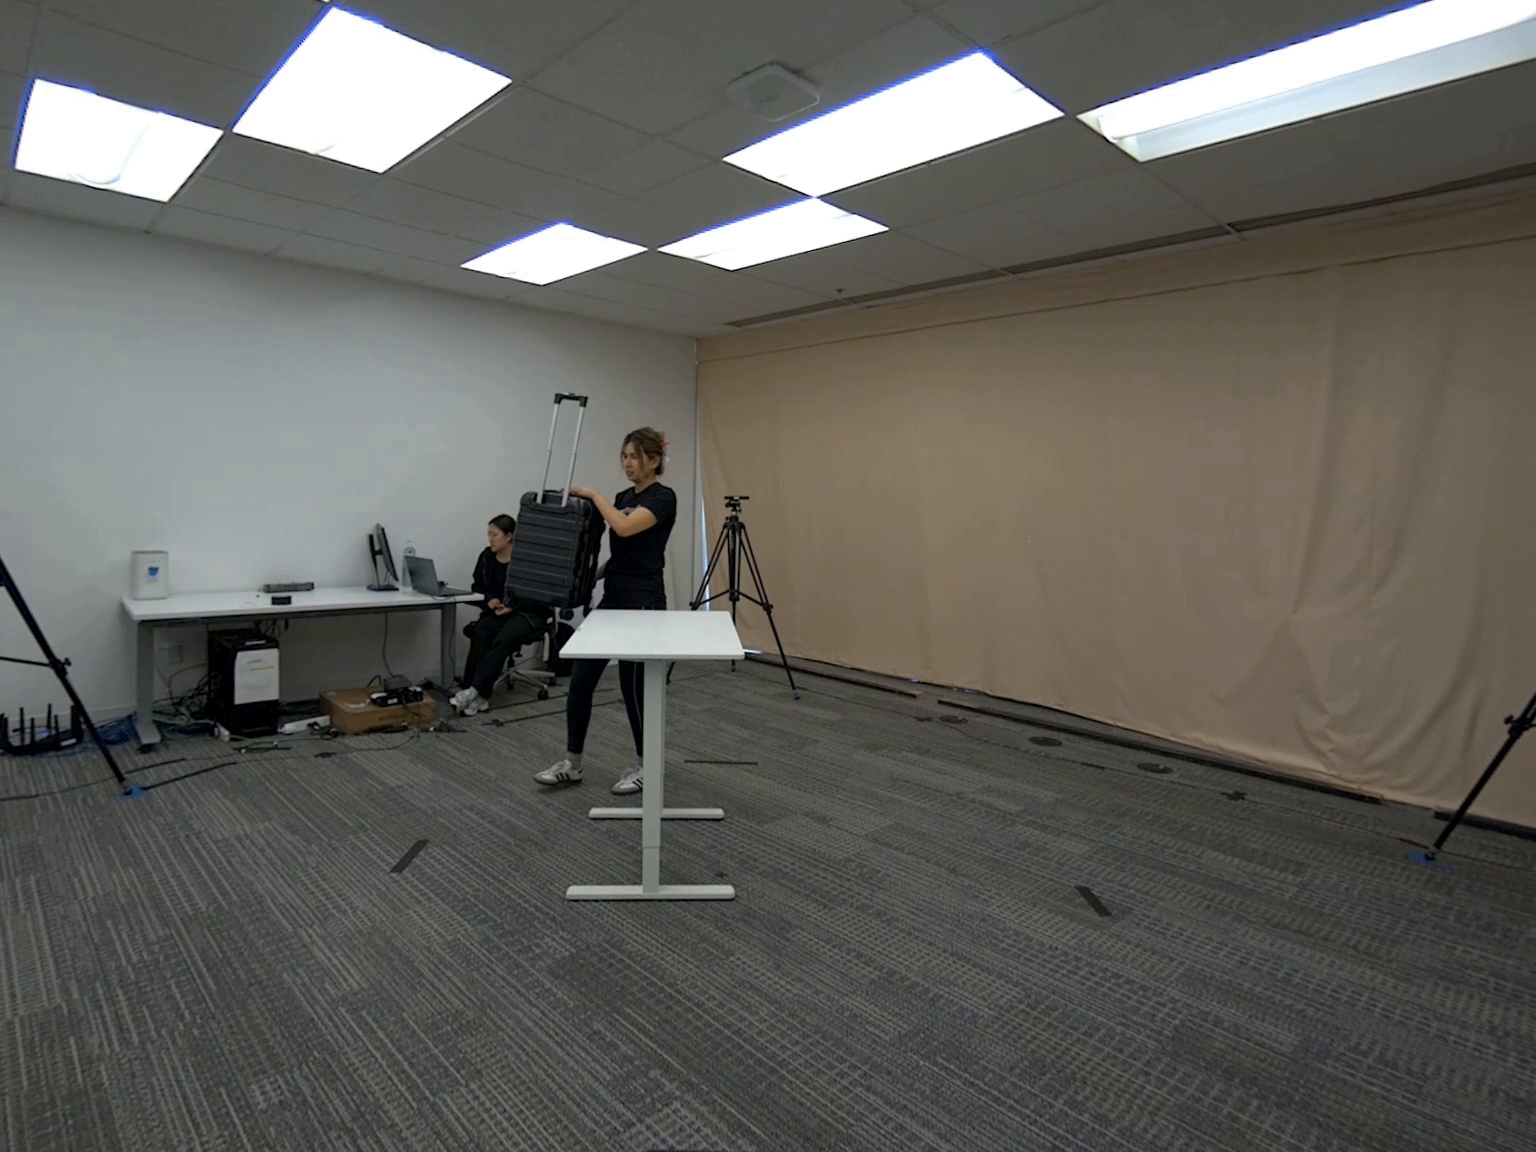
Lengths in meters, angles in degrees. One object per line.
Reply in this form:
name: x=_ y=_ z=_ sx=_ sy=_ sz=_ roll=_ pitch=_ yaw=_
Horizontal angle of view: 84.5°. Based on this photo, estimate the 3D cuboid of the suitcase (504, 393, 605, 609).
suitcase: x=-0.929 y=-0.312 z=3.806 sx=0.390 sy=0.980 sz=0.252 roll=10 pitch=-2 yaw=19
